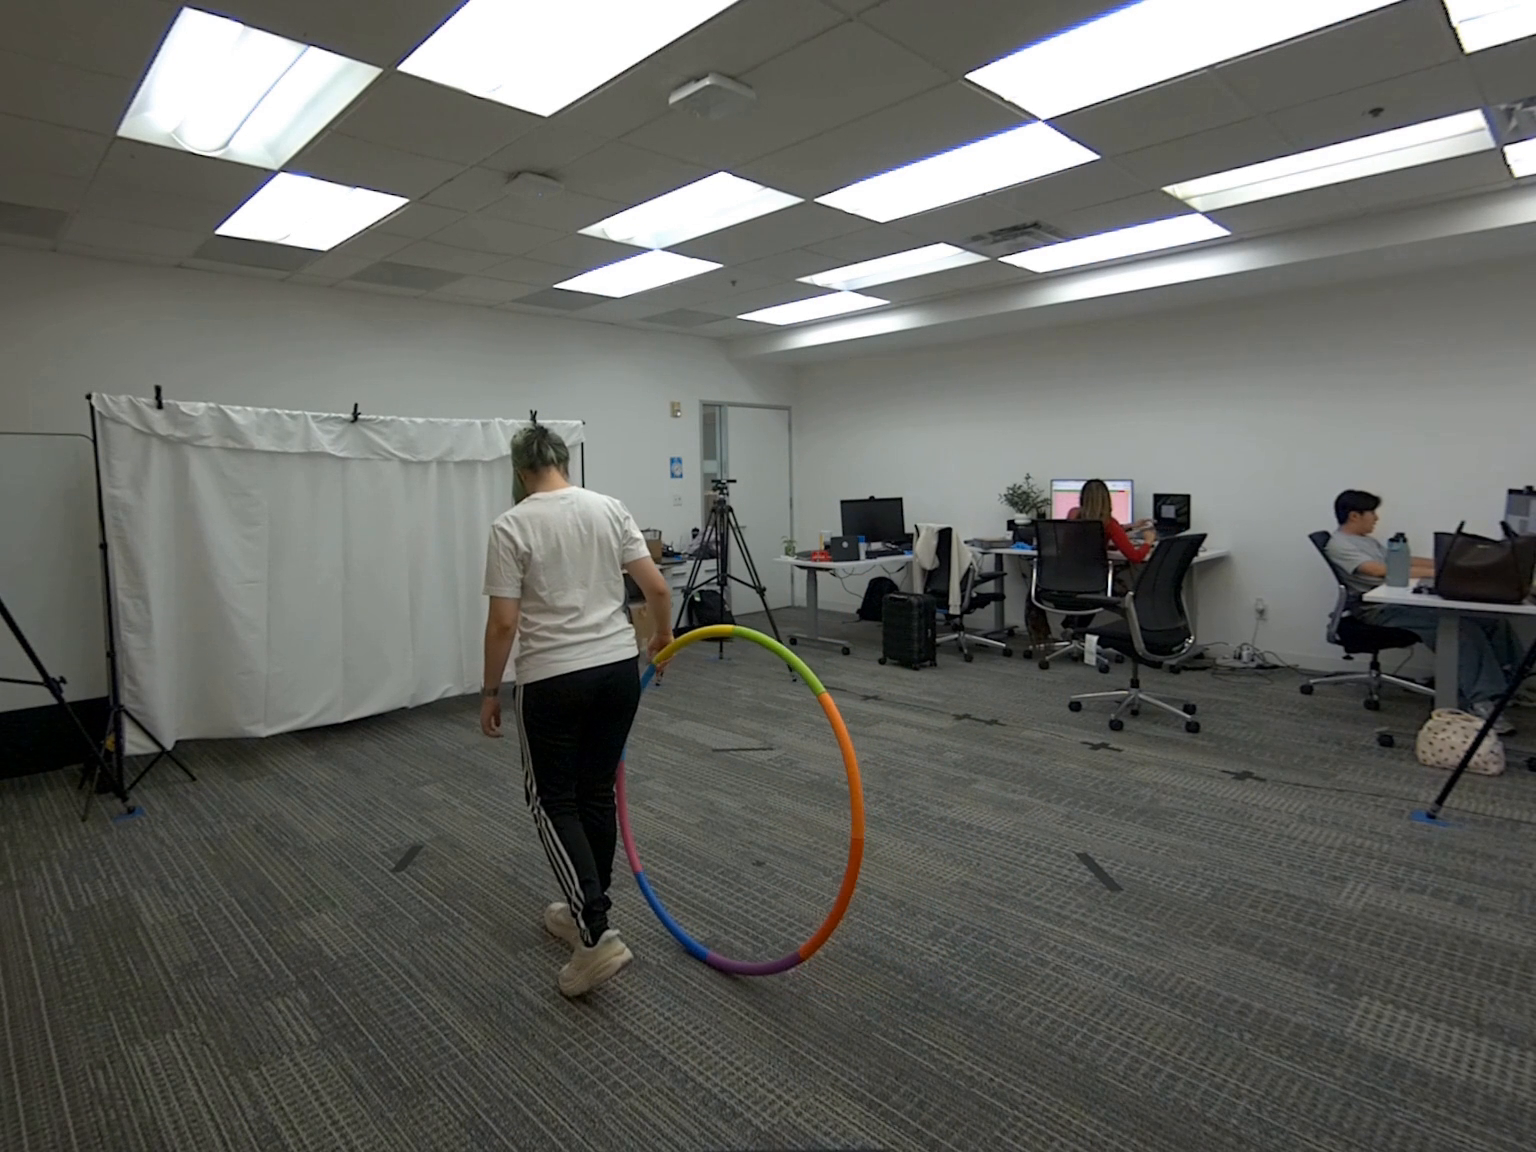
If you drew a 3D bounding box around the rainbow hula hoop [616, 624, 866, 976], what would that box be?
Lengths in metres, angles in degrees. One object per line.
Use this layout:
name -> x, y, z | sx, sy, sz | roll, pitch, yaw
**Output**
rainbow hula hoop -> -0.126, 0.638, 2.507 | 1.009, 0.981, 0.034 | 3, -3, 44
